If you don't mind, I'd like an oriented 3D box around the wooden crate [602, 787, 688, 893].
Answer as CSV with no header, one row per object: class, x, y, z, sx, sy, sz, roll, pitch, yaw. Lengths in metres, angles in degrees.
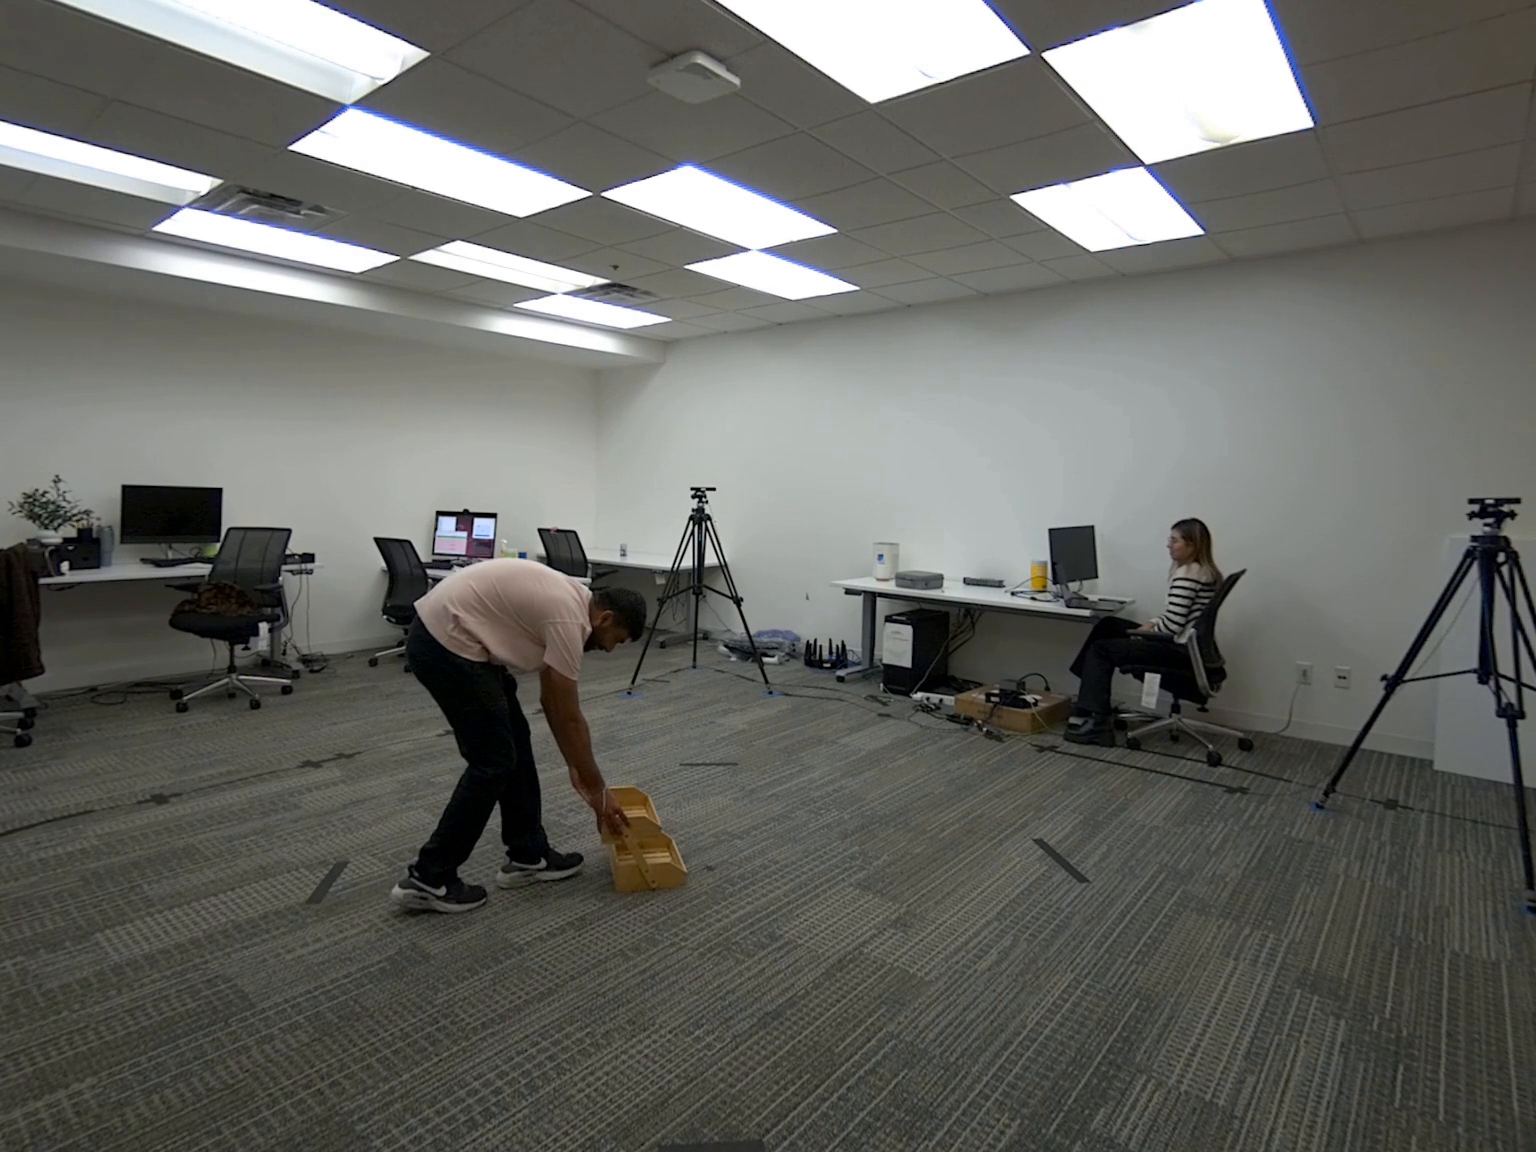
wooden crate,-0.467,0.935,3.074,0.298,0.272,0.330,0,4,-14
